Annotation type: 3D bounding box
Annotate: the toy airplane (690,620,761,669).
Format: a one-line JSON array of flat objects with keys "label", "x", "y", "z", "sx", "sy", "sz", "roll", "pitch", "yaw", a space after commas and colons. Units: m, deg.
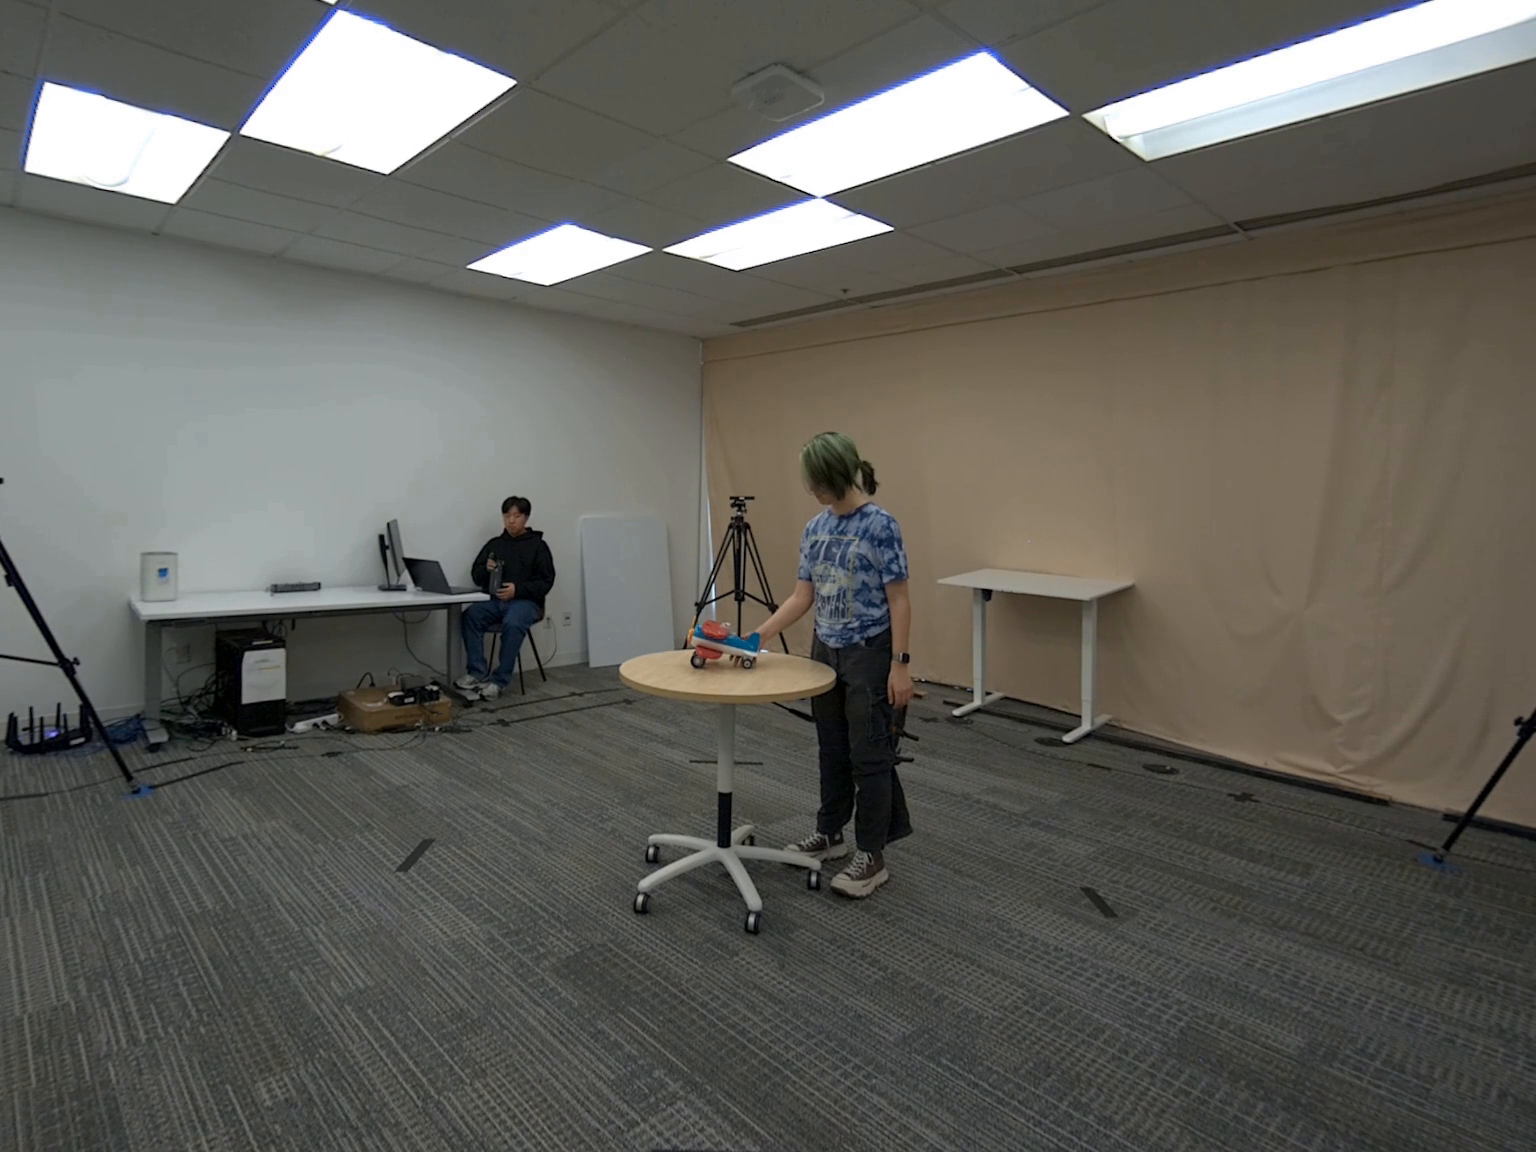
[{"label": "toy airplane", "x": -0.172, "y": 0.247, "z": 3.044, "sx": 0.254, "sy": 0.156, "sz": 0.257, "roll": -2, "pitch": 6, "yaw": -28}]
